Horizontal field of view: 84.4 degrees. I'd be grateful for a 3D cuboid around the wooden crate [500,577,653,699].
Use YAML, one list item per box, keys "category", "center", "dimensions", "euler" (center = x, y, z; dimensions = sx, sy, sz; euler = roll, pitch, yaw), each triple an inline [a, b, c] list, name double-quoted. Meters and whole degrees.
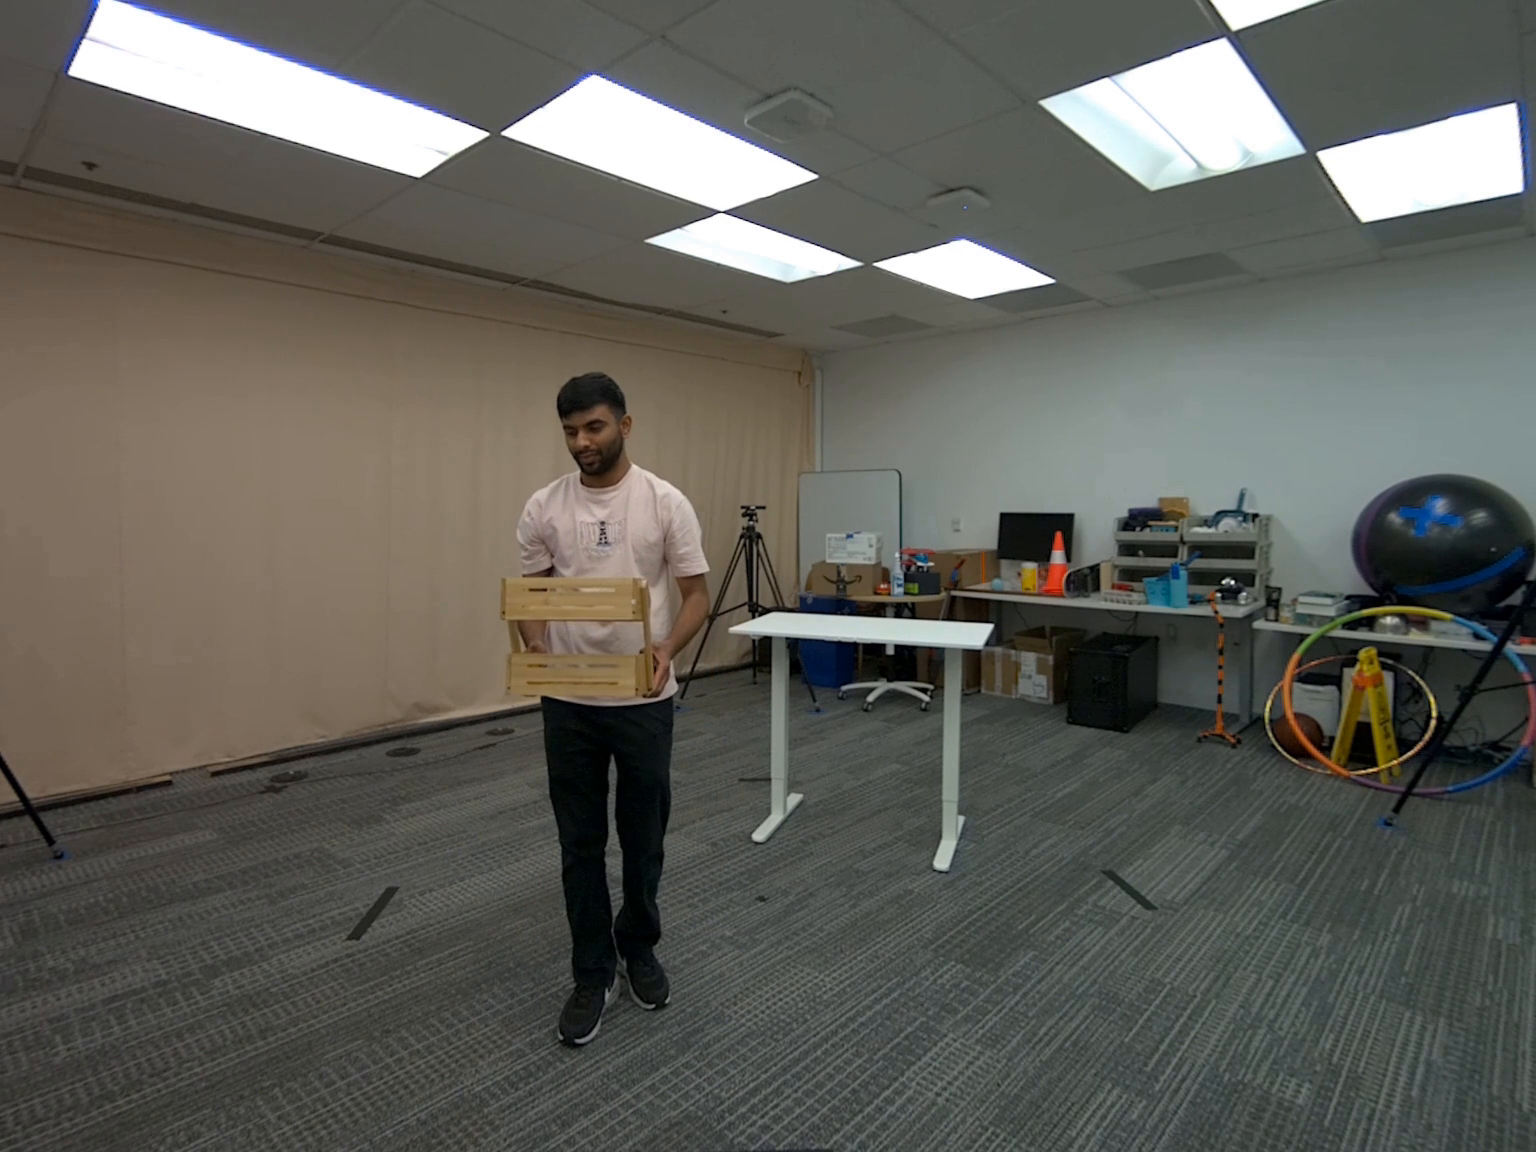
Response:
- category: "wooden crate"
  center: [-0.434, 0.139, 1.976]
  dimensions: [0.325, 0.274, 0.300]
  euler: [0, -4, 2]
